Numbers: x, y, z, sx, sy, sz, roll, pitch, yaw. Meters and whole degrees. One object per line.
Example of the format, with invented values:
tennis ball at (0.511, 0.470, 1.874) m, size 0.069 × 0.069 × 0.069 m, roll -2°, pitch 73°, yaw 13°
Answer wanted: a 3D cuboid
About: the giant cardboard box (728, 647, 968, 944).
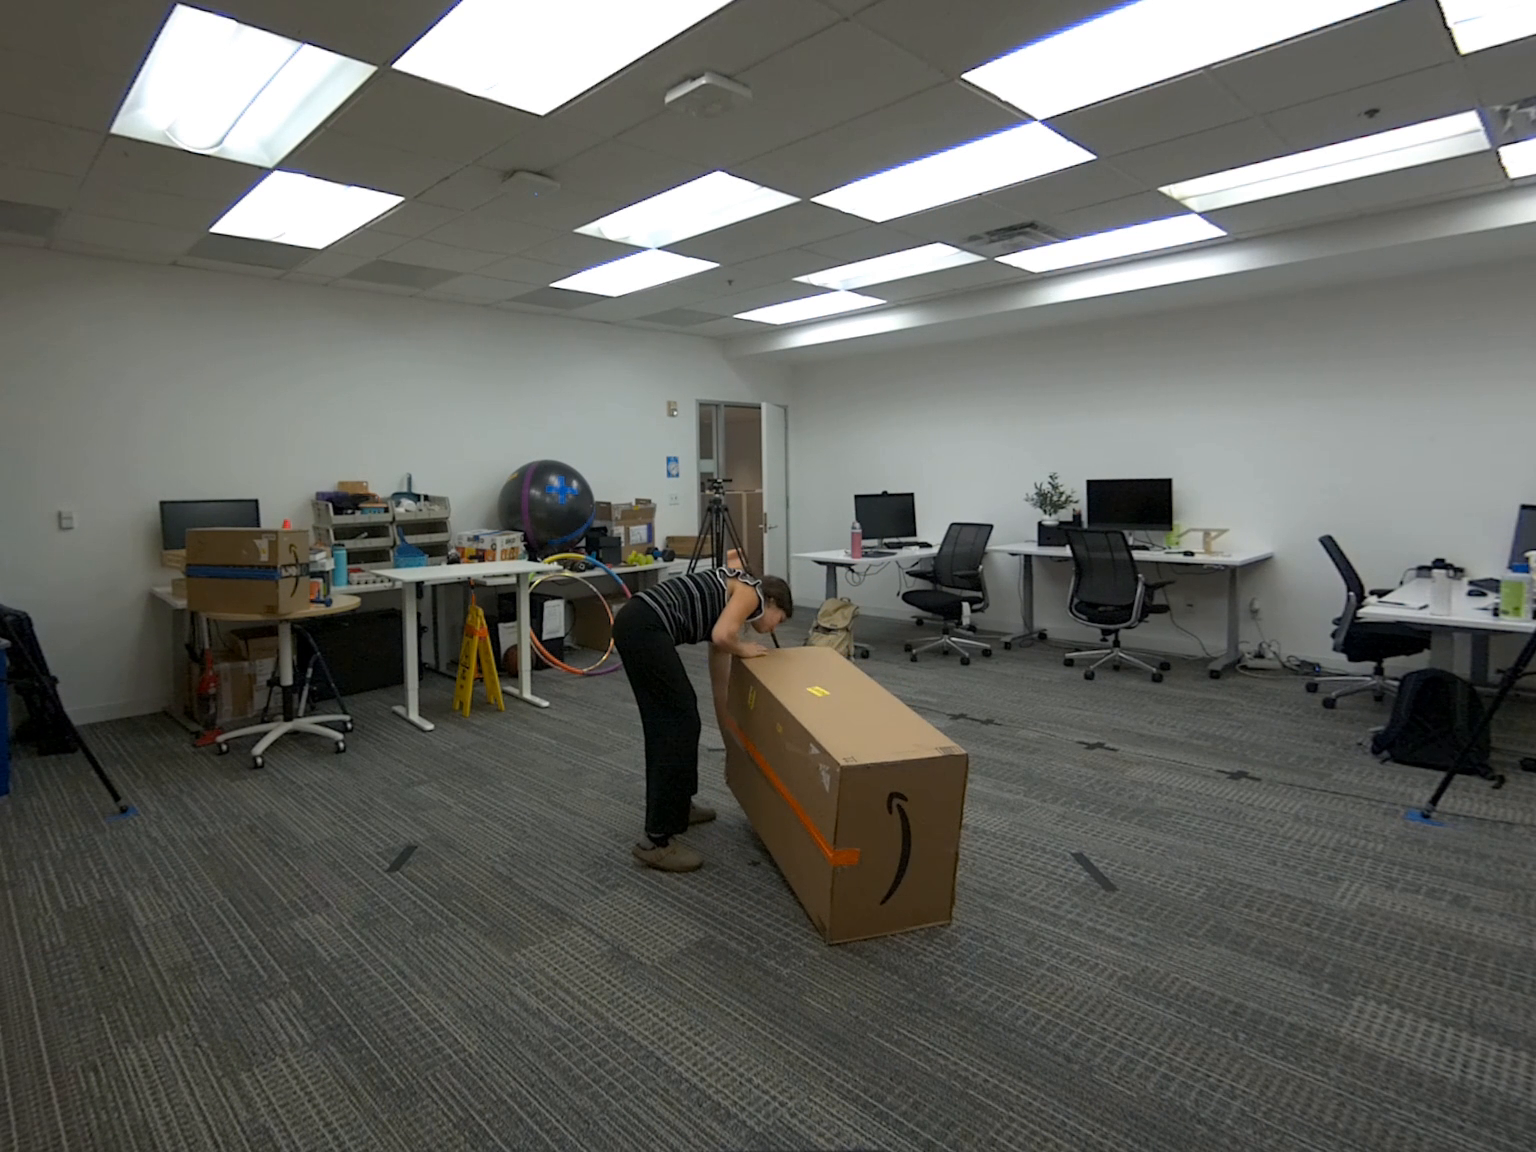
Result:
giant cardboard box at (0.238, 0.697, 3.015) m, size 0.420 × 0.572 × 1.051 m, roll -2°, pitch 12°, yaw -17°
